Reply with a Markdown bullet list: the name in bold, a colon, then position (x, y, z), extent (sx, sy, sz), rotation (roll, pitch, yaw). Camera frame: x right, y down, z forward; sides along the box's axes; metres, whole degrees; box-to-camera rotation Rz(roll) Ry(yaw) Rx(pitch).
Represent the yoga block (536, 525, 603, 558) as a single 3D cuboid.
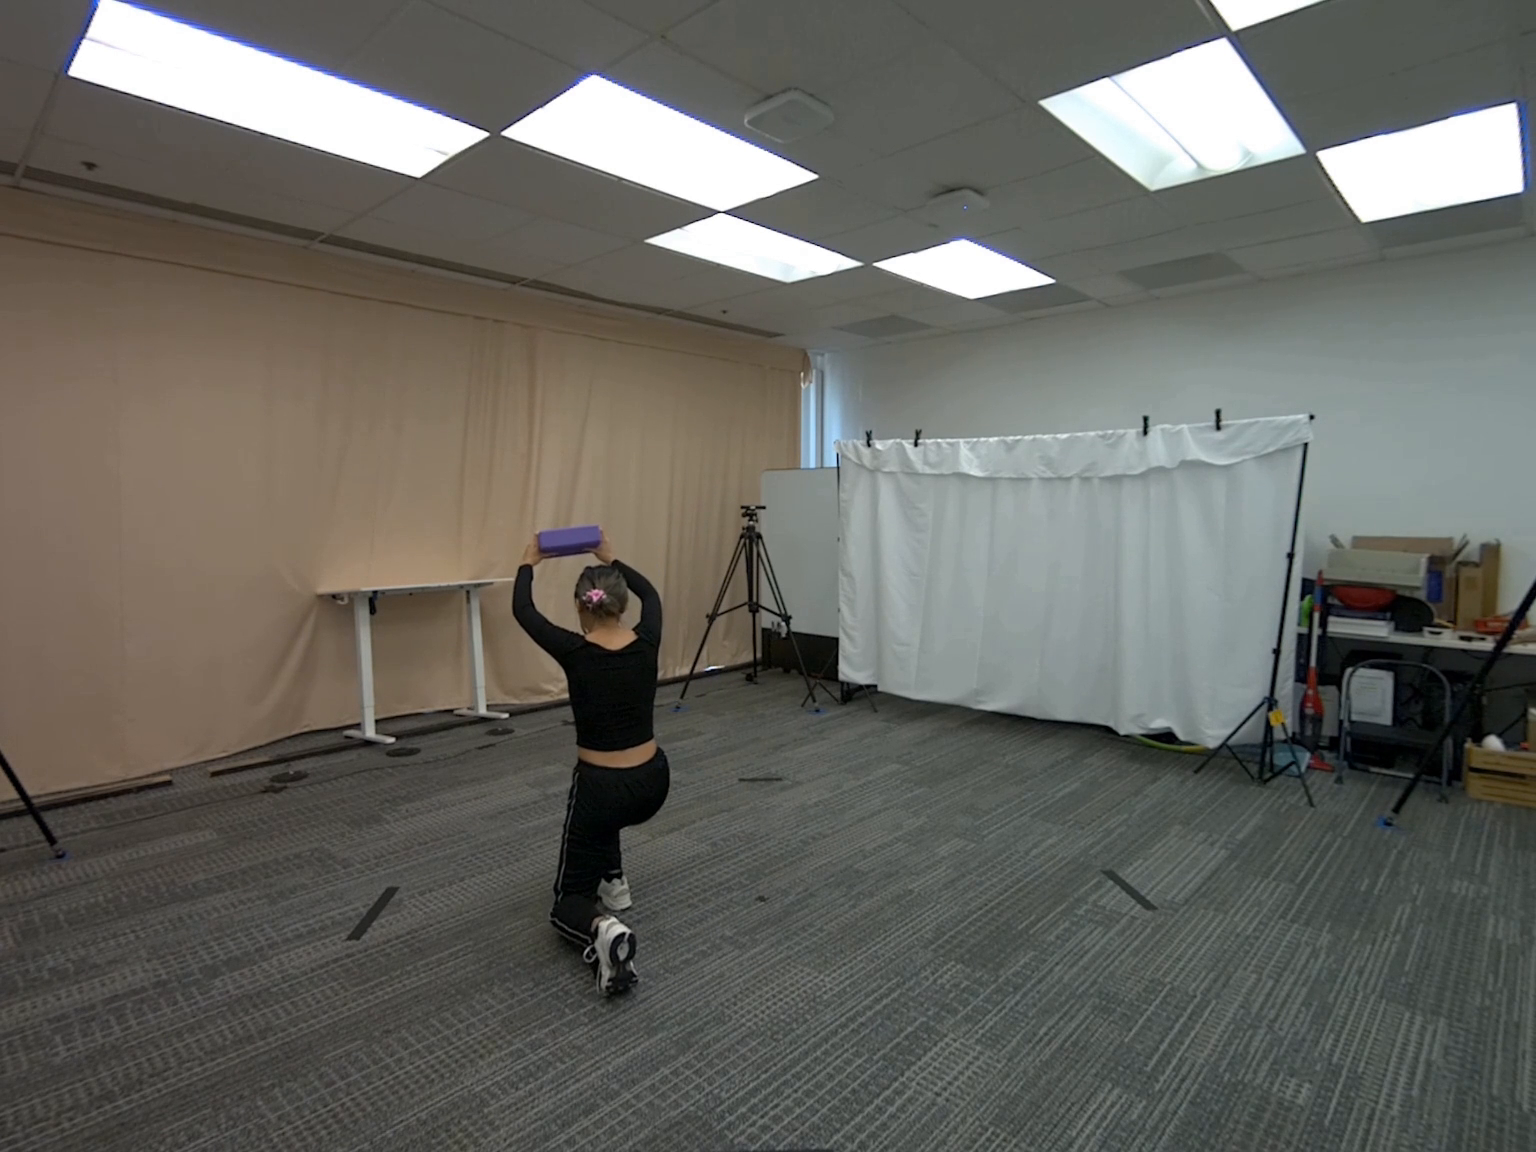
- **yoga block**: position (-0.770, -0.134, 3.226), extent (0.226, 0.077, 0.150), rotation (-8, -11, -16)
